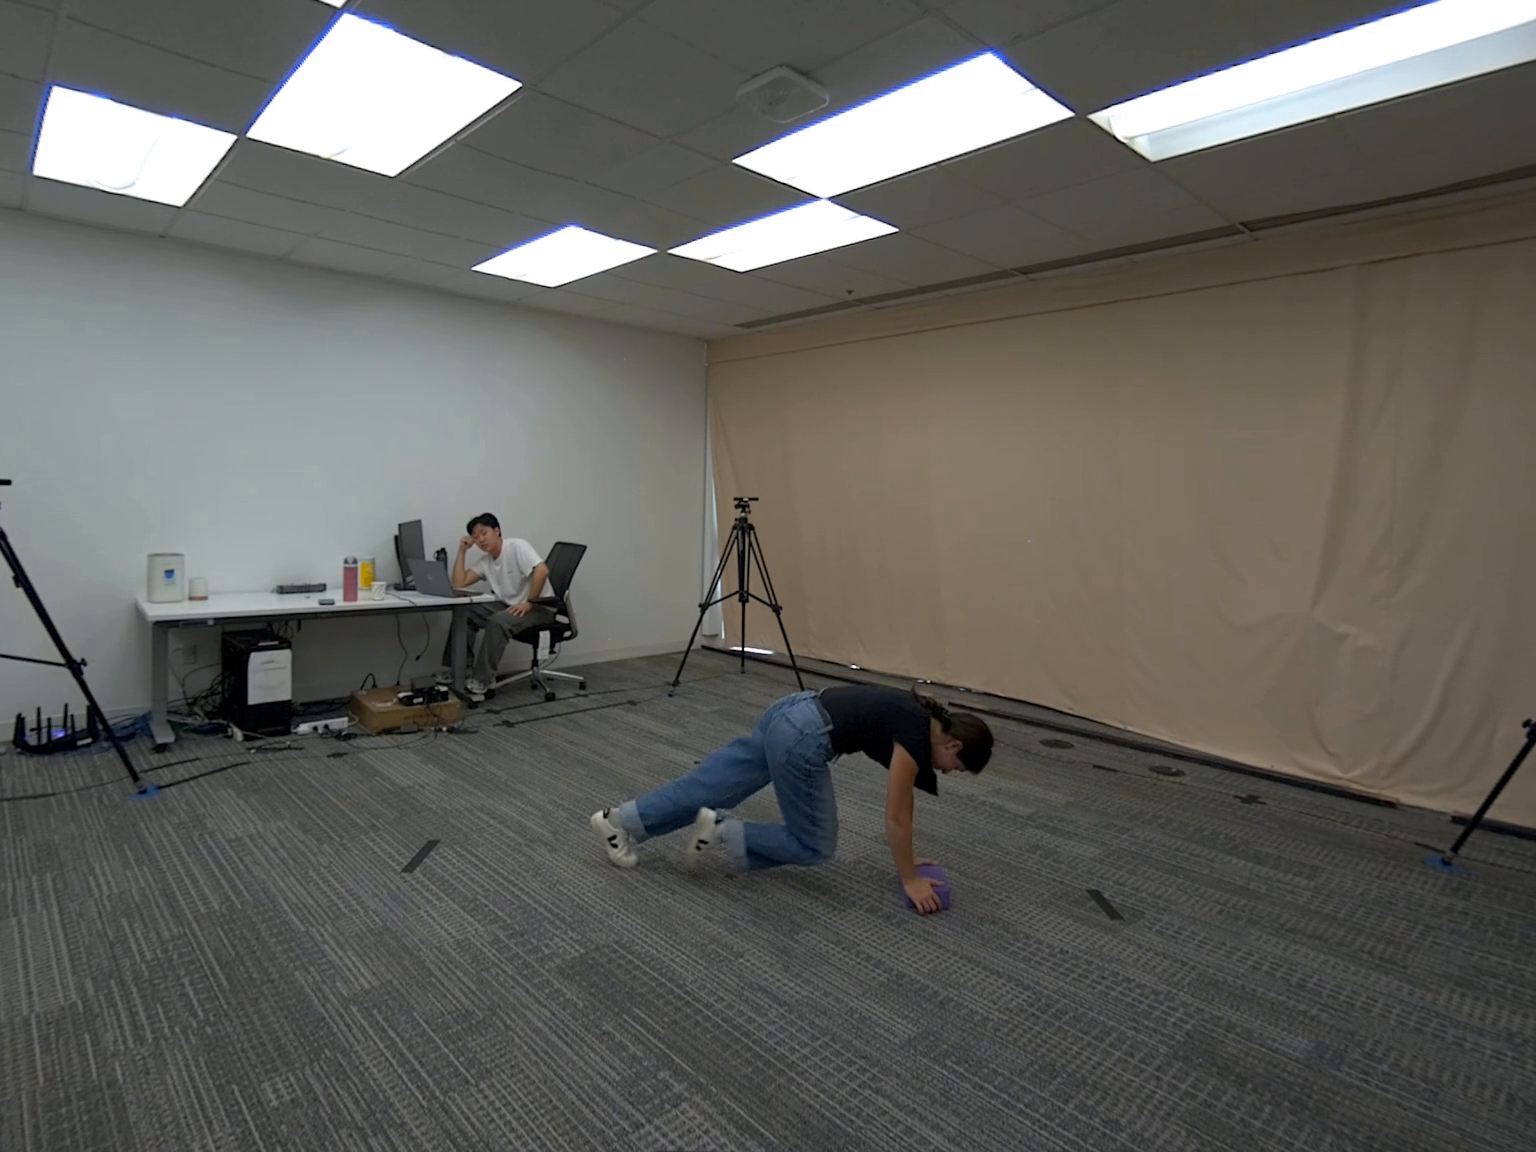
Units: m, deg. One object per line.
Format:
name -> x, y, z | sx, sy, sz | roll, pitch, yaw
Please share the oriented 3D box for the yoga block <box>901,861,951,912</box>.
yoga block -> 0.547, 1.101, 2.988 | 0.149, 0.076, 0.229 | 1, 4, 2
